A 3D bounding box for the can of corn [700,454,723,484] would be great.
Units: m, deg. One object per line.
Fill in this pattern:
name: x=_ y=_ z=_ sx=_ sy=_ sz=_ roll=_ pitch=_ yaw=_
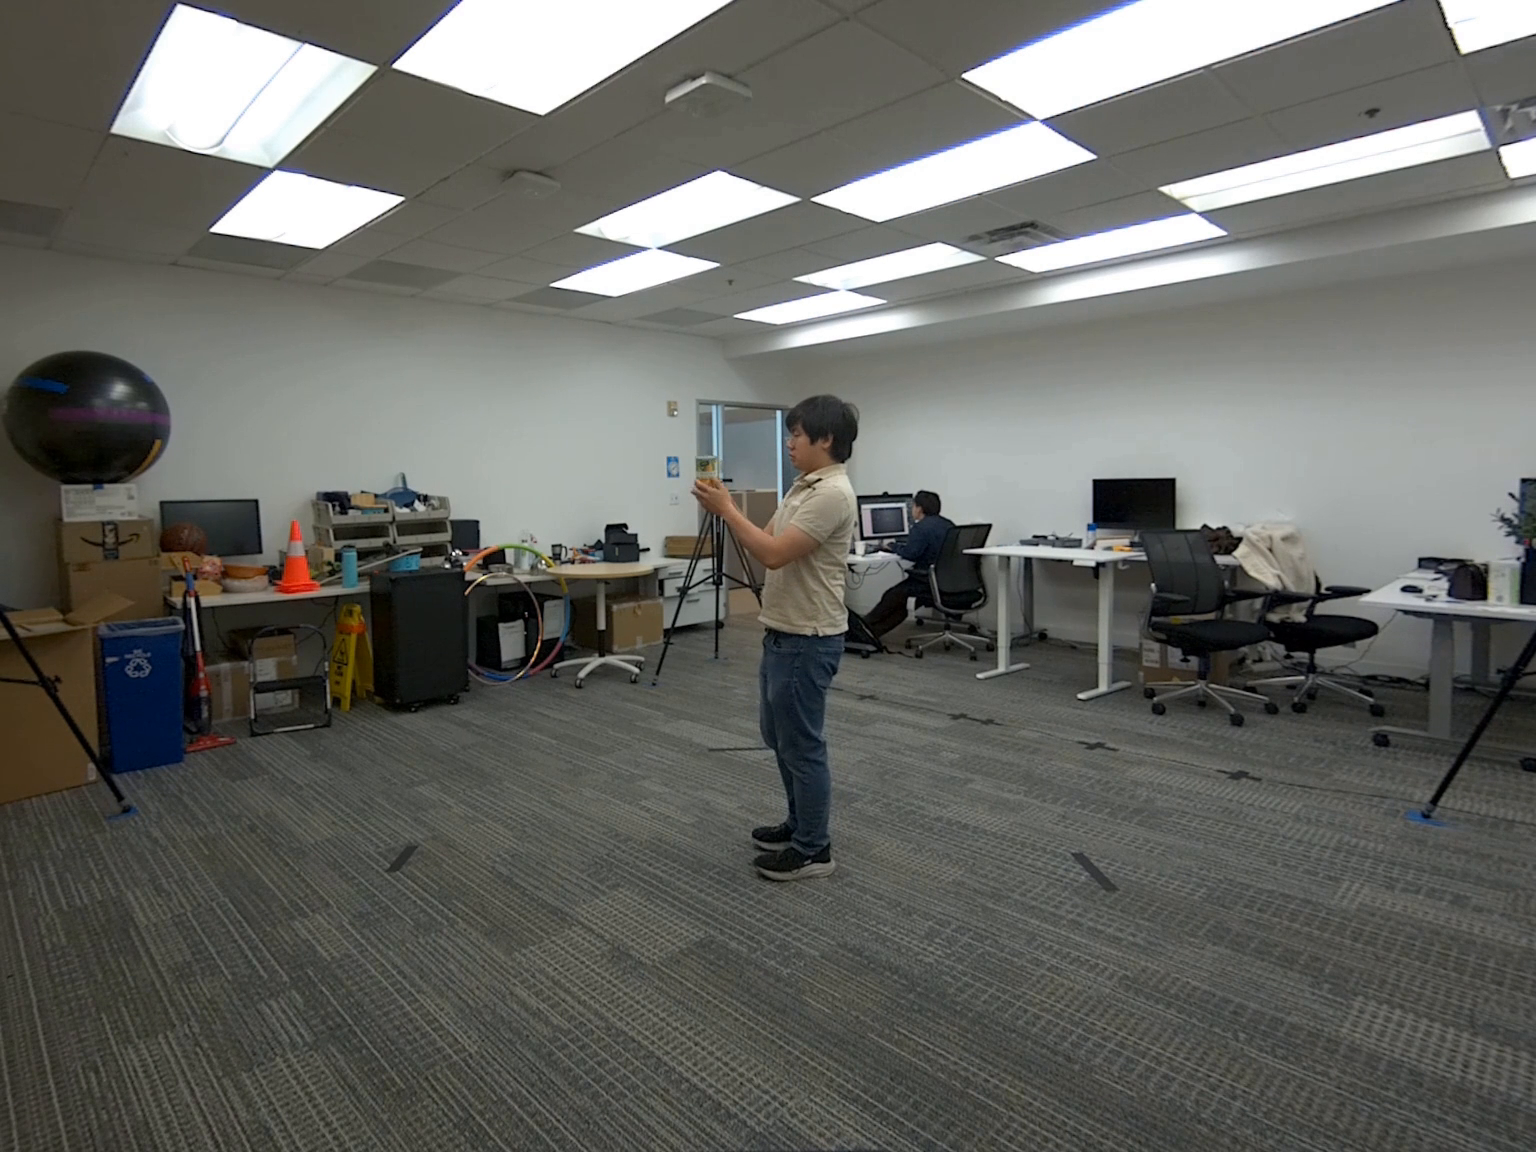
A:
can of corn: x=-0.194 y=-0.361 z=2.949 sx=0.074 sy=0.110 sz=0.075 roll=0 pitch=14 yaw=-2
